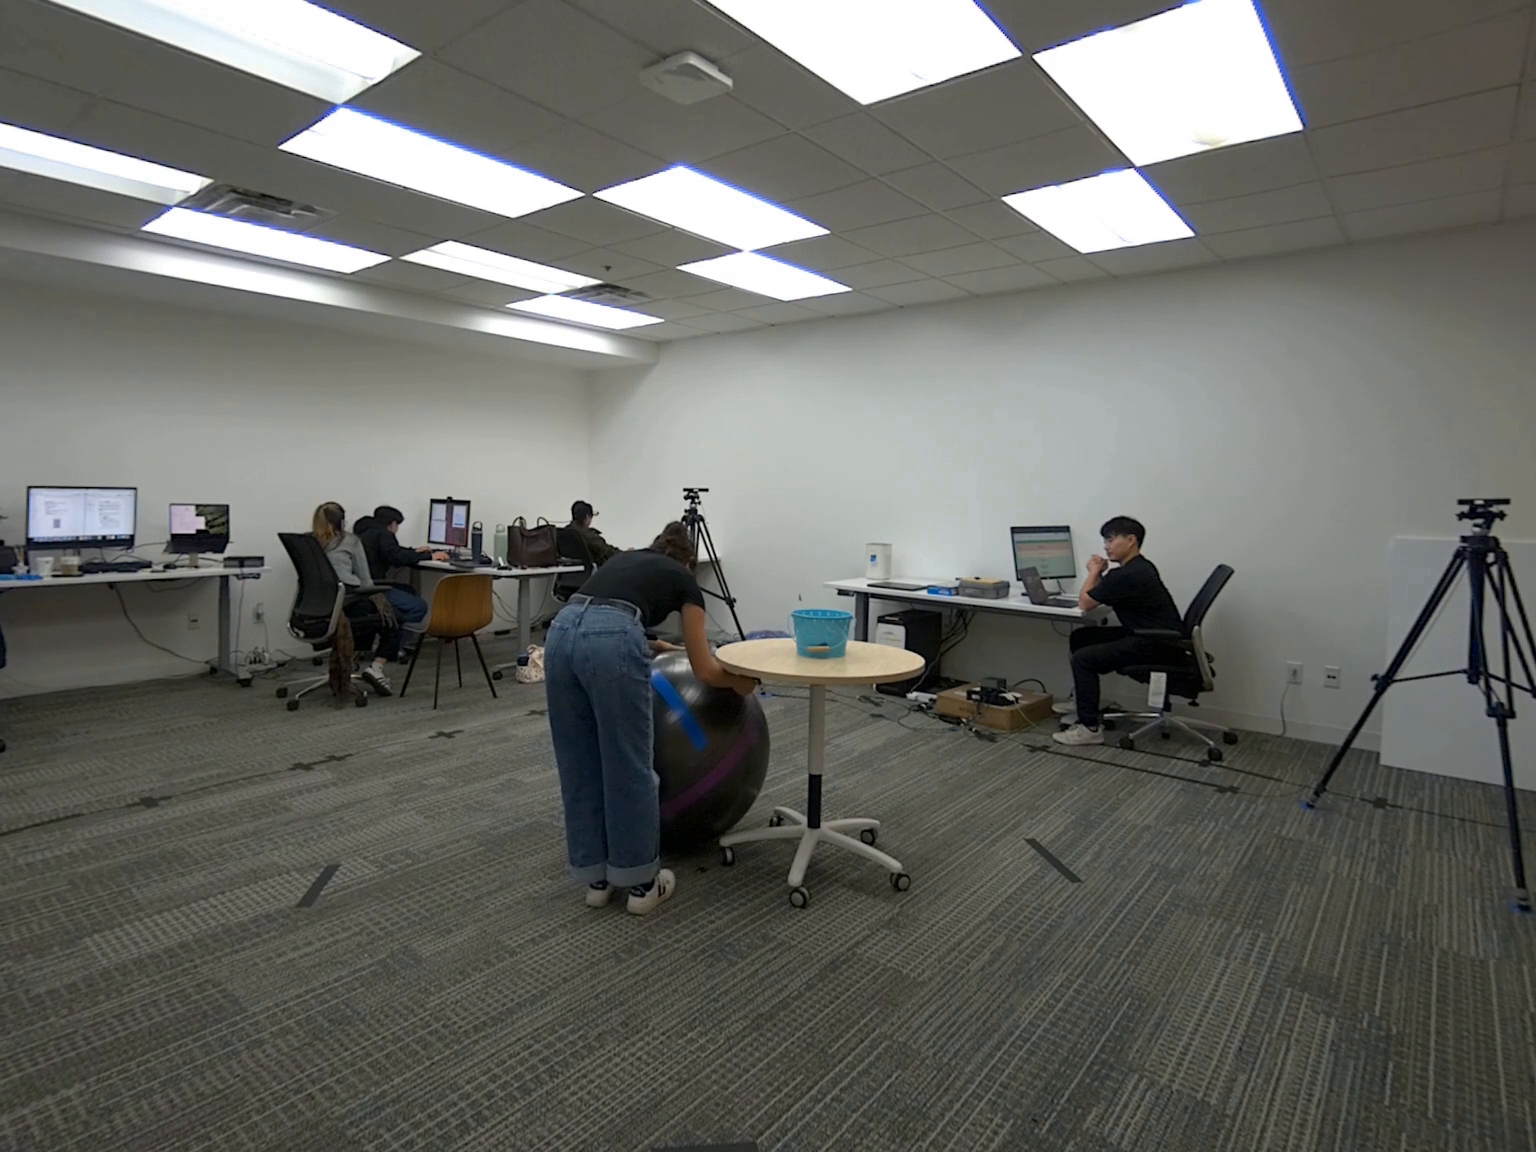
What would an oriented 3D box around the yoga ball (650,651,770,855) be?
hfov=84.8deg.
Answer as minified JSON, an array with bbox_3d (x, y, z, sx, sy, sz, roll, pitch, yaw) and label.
[{"bbox_3d":[-0.396,0.683,3.372,0.757,0.755,0.762,1,4,-2],"label":"yoga ball"}]
